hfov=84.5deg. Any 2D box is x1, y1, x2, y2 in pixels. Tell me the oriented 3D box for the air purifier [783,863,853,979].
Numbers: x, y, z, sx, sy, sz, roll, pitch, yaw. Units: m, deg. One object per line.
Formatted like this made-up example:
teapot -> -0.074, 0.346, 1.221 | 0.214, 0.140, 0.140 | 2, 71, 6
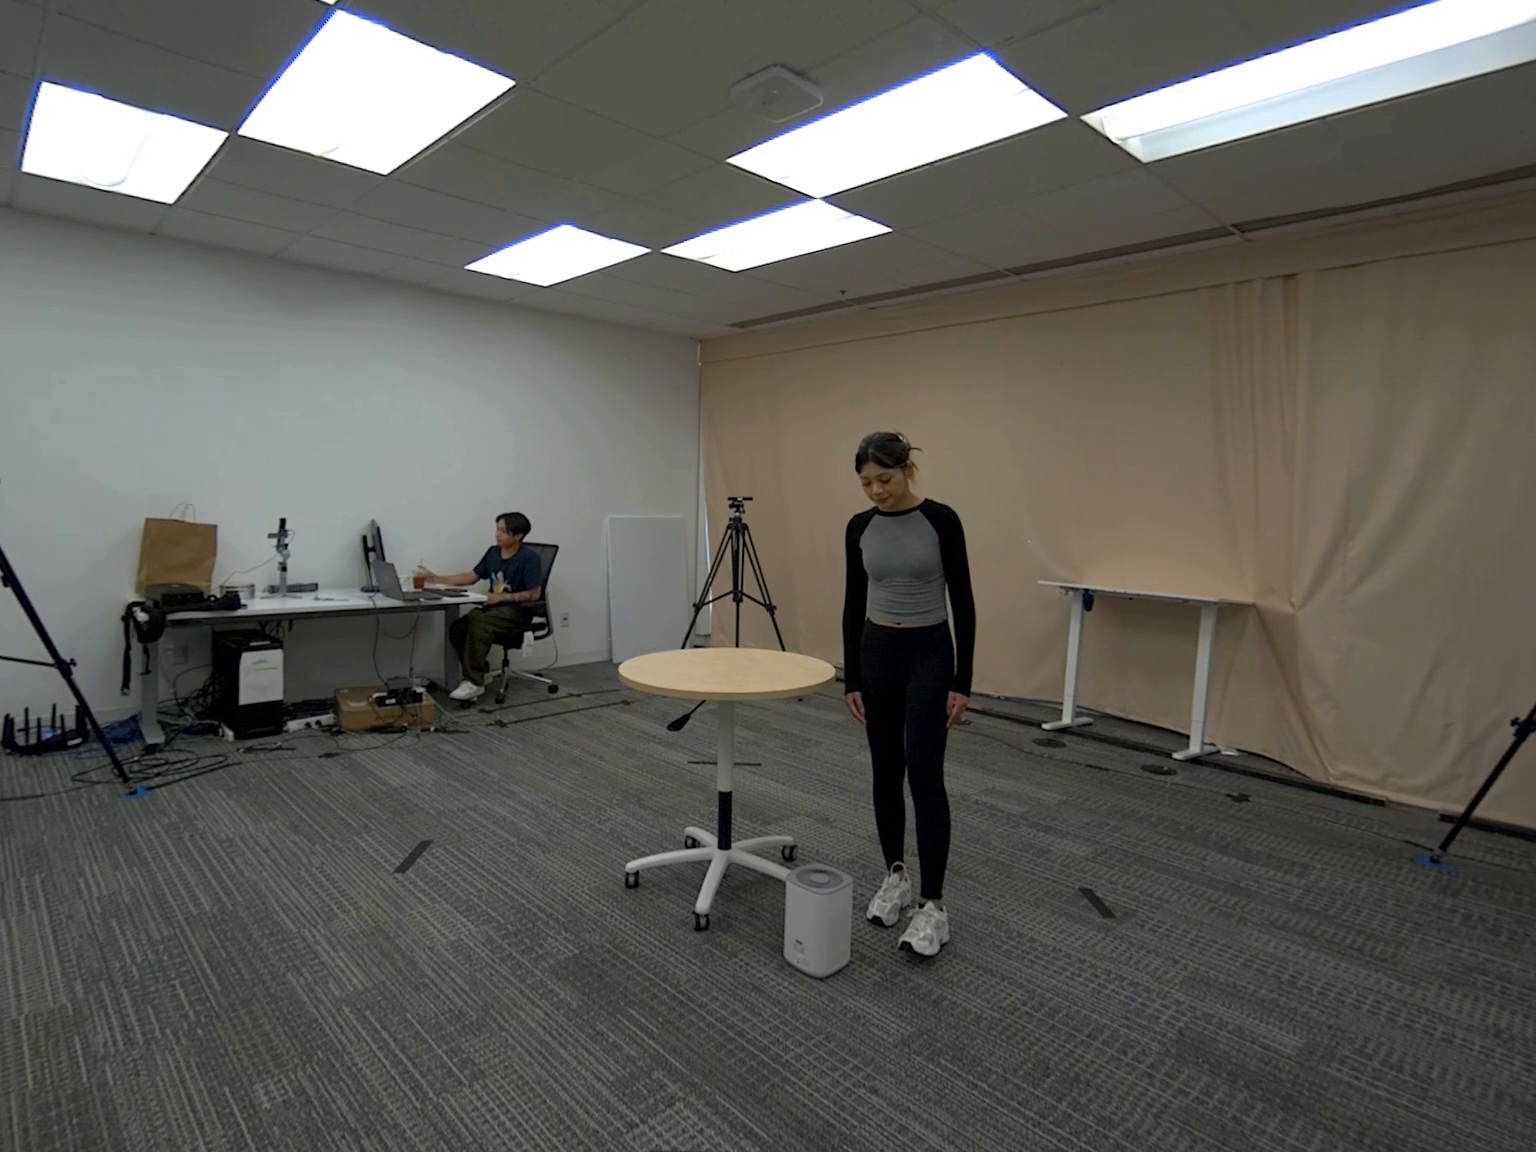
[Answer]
air purifier -> 0.148, 1.034, 2.523 | 0.175, 0.265, 0.168 | 5, 5, 42
